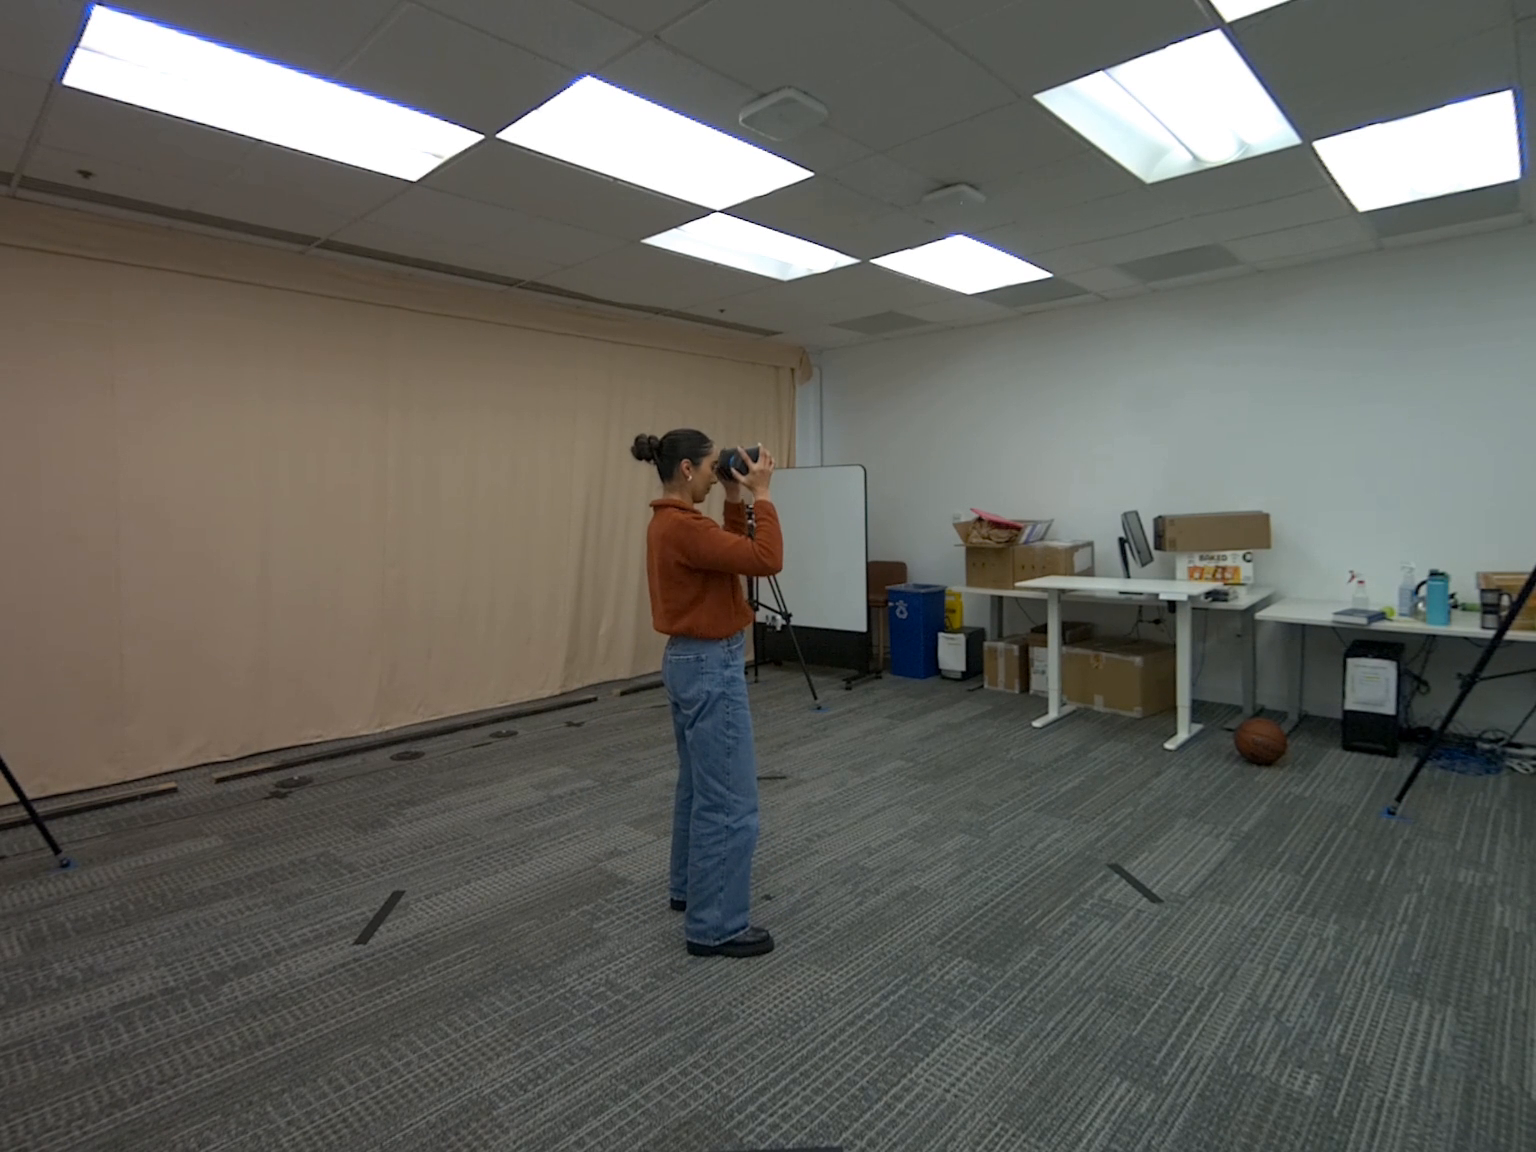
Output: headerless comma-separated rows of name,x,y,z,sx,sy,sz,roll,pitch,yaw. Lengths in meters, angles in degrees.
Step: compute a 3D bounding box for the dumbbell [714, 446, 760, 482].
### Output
dumbbell,-0.086,-0.365,2.729,0.108,0.121,0.299,-43,16,-4
